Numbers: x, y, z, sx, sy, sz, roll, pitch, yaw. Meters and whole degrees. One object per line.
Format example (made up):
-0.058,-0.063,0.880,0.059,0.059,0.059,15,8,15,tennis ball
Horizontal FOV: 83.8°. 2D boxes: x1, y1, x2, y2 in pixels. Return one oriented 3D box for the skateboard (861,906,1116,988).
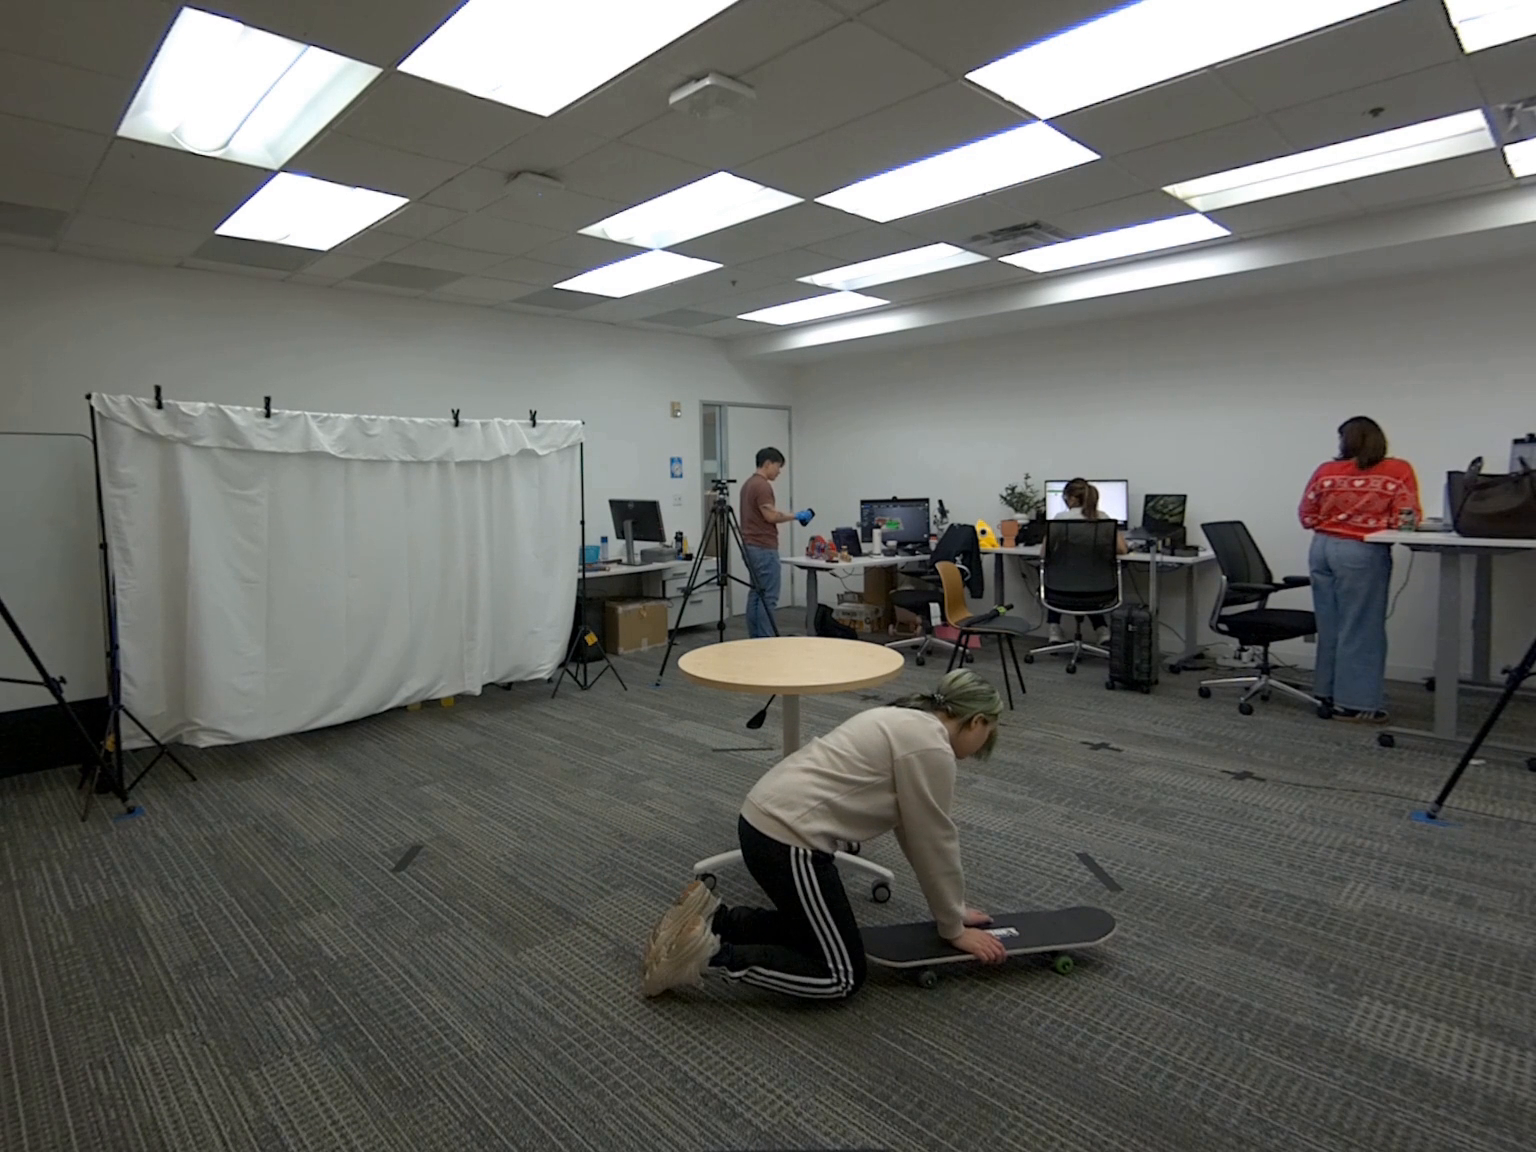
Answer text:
0.618,1.049,2.441,0.780,0.110,0.195,-2,6,-7,skateboard
